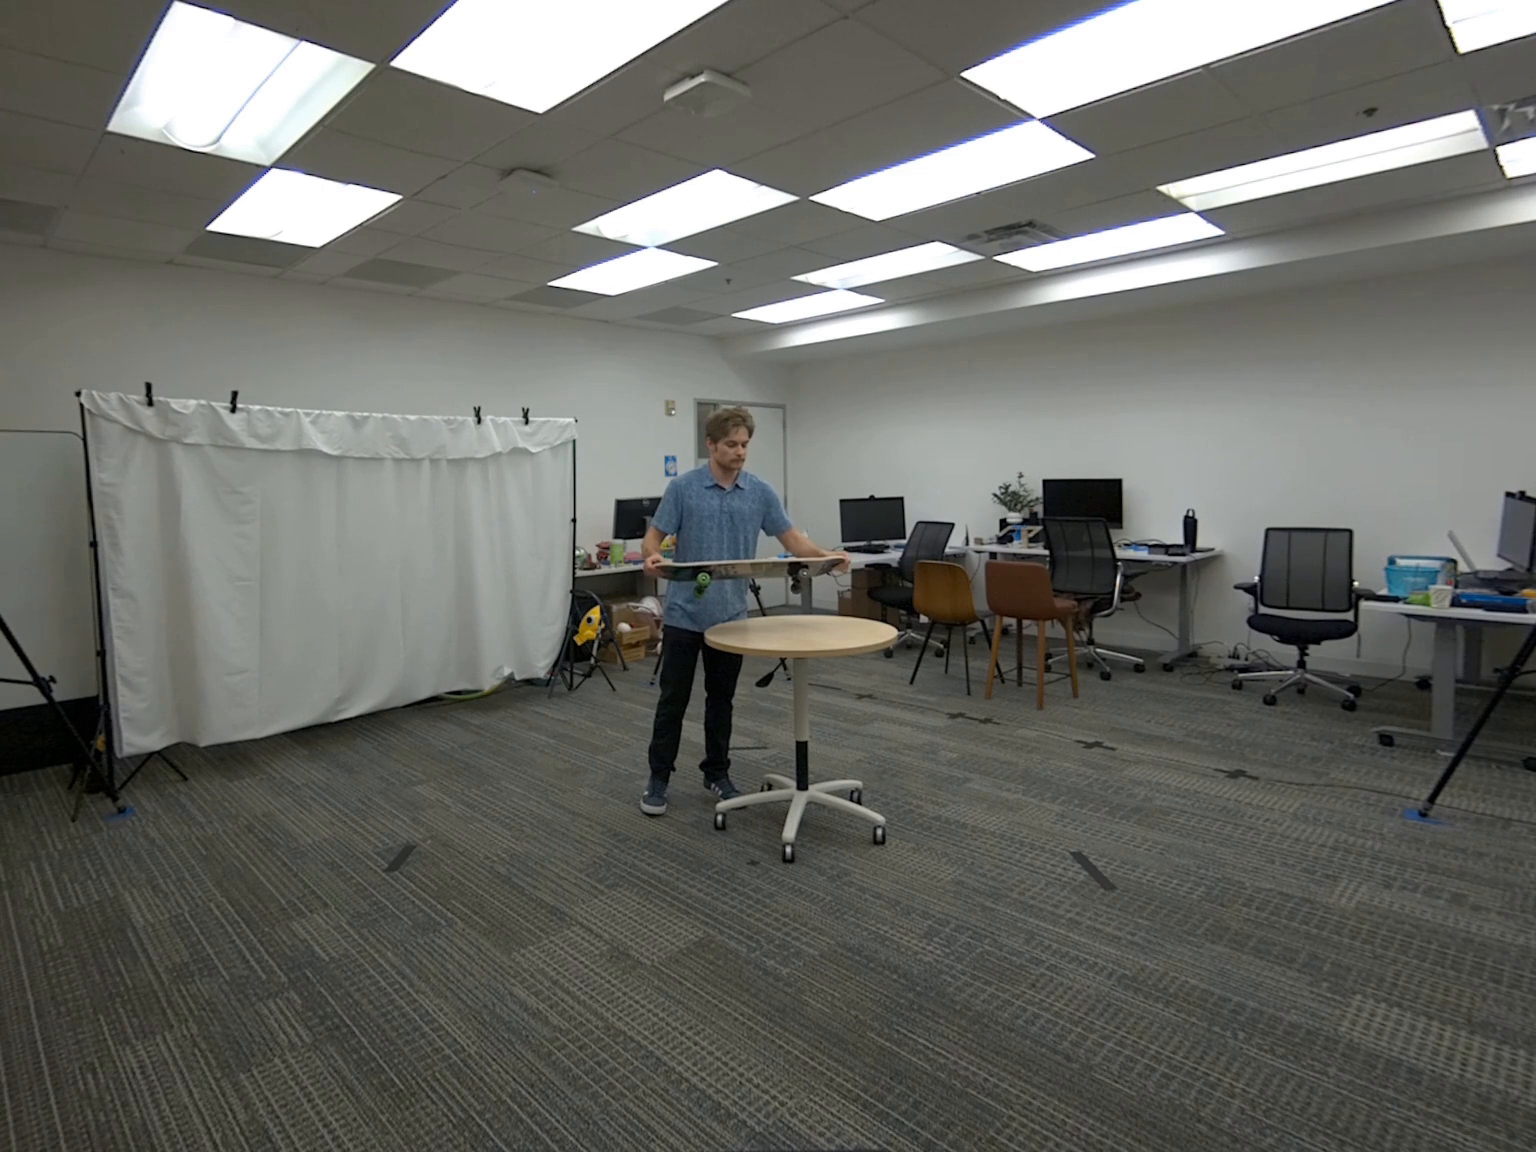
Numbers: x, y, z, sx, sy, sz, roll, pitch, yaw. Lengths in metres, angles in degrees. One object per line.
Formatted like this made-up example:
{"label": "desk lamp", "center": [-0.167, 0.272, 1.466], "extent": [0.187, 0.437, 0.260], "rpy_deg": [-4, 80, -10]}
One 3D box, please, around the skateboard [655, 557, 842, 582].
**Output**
{"label": "skateboard", "center": [-0.071, 0.006, 3.403], "extent": [0.780, 0.113, 0.191], "rpy_deg": [-3, -21, -8]}
